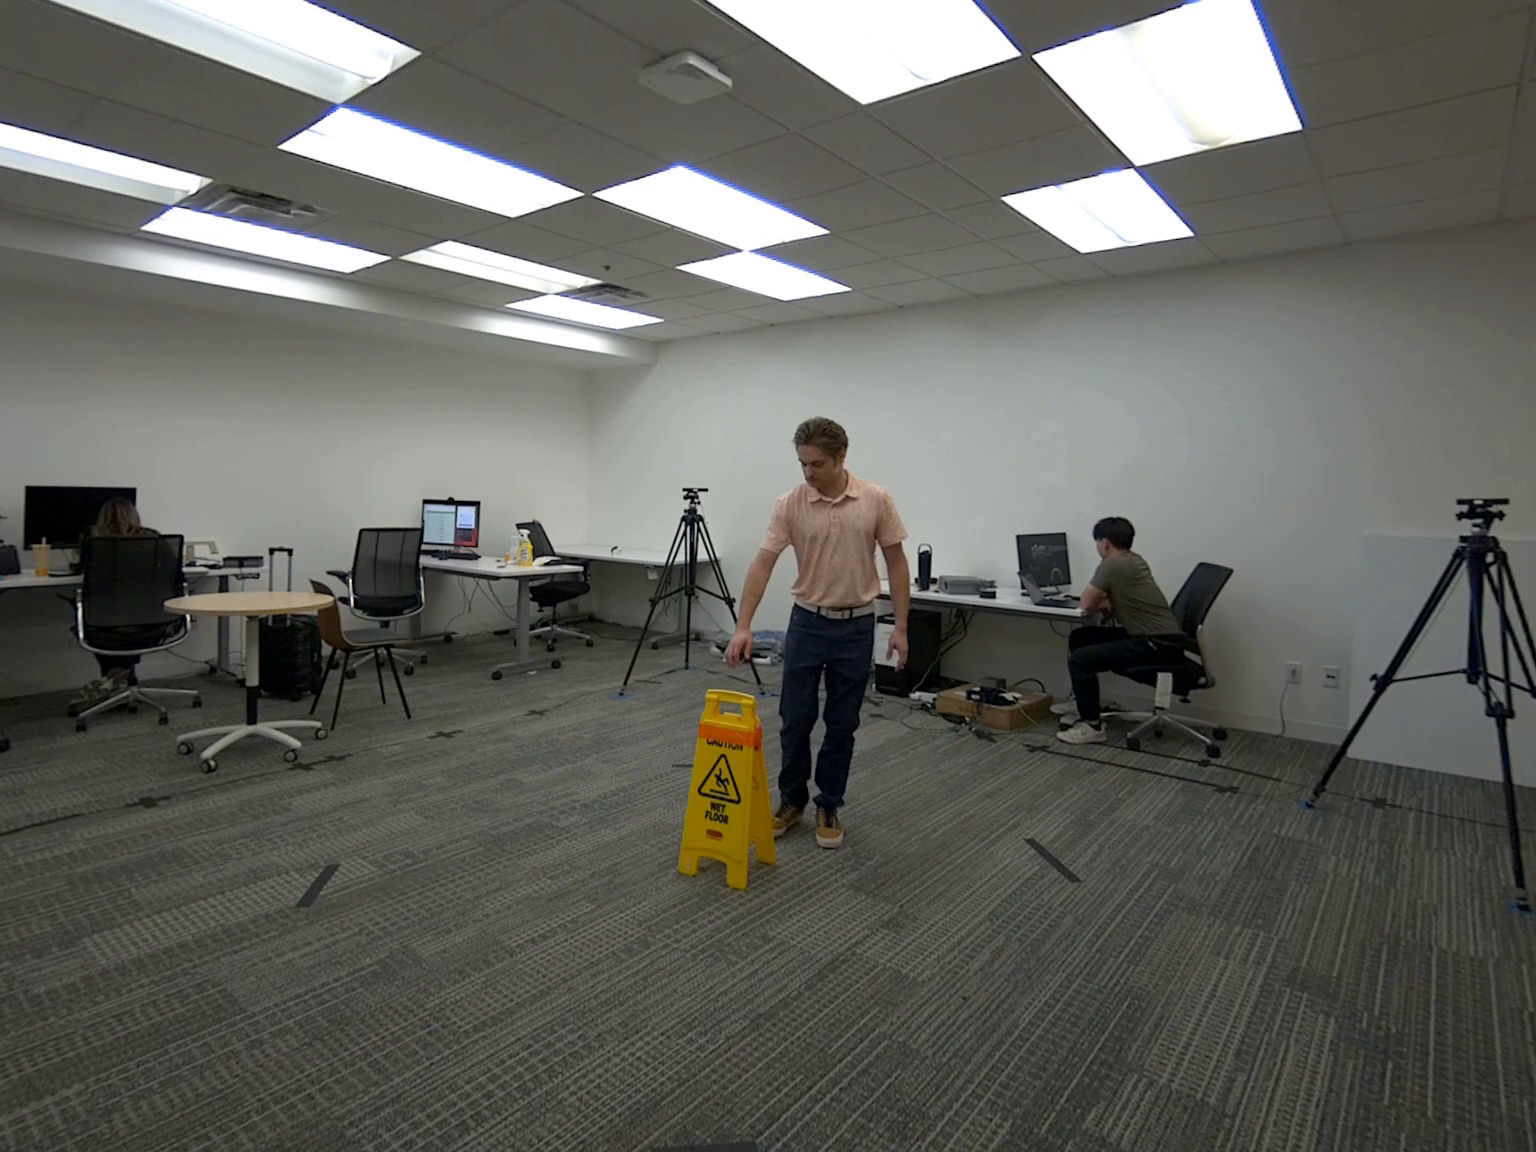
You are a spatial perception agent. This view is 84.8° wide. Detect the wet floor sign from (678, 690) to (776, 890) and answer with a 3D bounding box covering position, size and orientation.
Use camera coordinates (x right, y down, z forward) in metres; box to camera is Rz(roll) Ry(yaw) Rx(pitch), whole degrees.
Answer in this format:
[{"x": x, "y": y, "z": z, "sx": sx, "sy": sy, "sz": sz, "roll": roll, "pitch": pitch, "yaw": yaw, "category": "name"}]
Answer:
[{"x": -0.153, "y": 0.746, "z": 3.106, "sx": 0.290, "sy": 0.644, "sz": 0.283, "roll": 2, "pitch": 3, "yaw": 28, "category": "wet floor sign"}]
